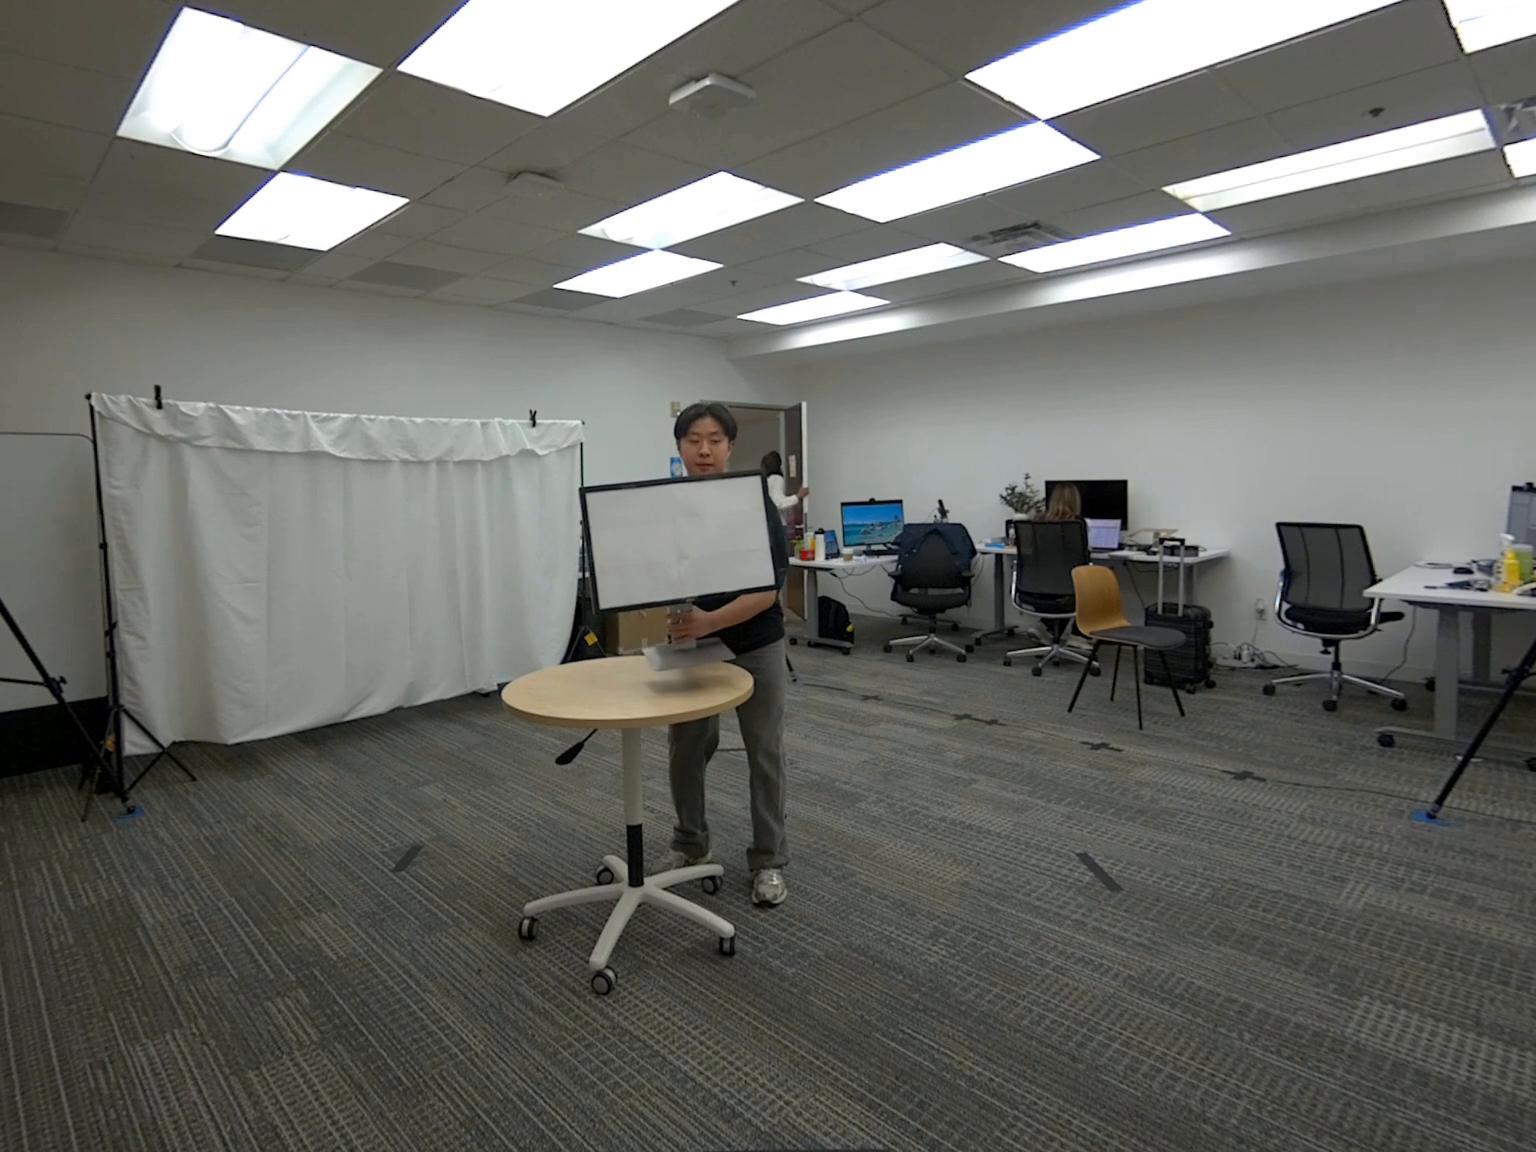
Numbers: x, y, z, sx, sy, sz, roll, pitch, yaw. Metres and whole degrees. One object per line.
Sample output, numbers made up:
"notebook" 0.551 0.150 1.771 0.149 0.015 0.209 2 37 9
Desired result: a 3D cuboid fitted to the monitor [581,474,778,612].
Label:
"monitor" -0.259 -0.009 2.521 0.555 0.558 0.228 -7 14 -13
